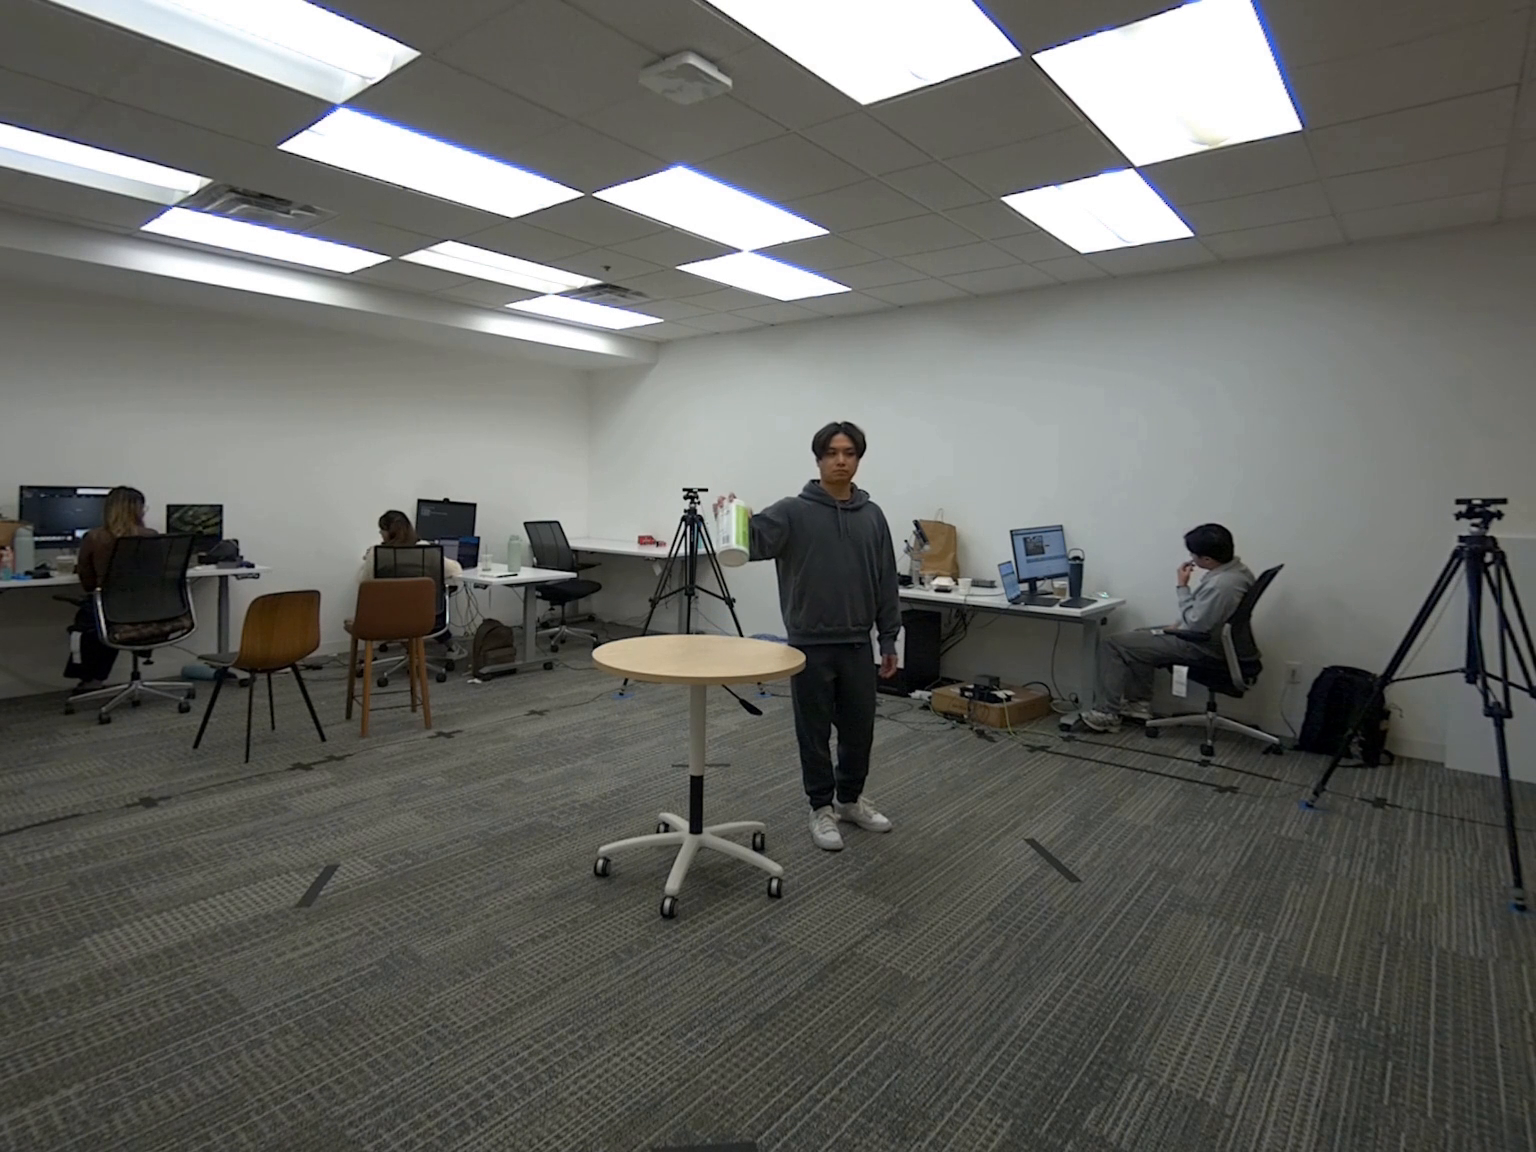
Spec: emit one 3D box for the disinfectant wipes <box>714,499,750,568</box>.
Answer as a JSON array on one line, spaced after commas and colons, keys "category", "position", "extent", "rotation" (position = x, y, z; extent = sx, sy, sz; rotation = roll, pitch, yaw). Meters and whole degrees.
[{"category": "disinfectant wipes", "position": [-0.121, -0.142, 2.849], "extent": [0.118, 0.223, 0.115], "rotation": [0, -35, -1]}]
